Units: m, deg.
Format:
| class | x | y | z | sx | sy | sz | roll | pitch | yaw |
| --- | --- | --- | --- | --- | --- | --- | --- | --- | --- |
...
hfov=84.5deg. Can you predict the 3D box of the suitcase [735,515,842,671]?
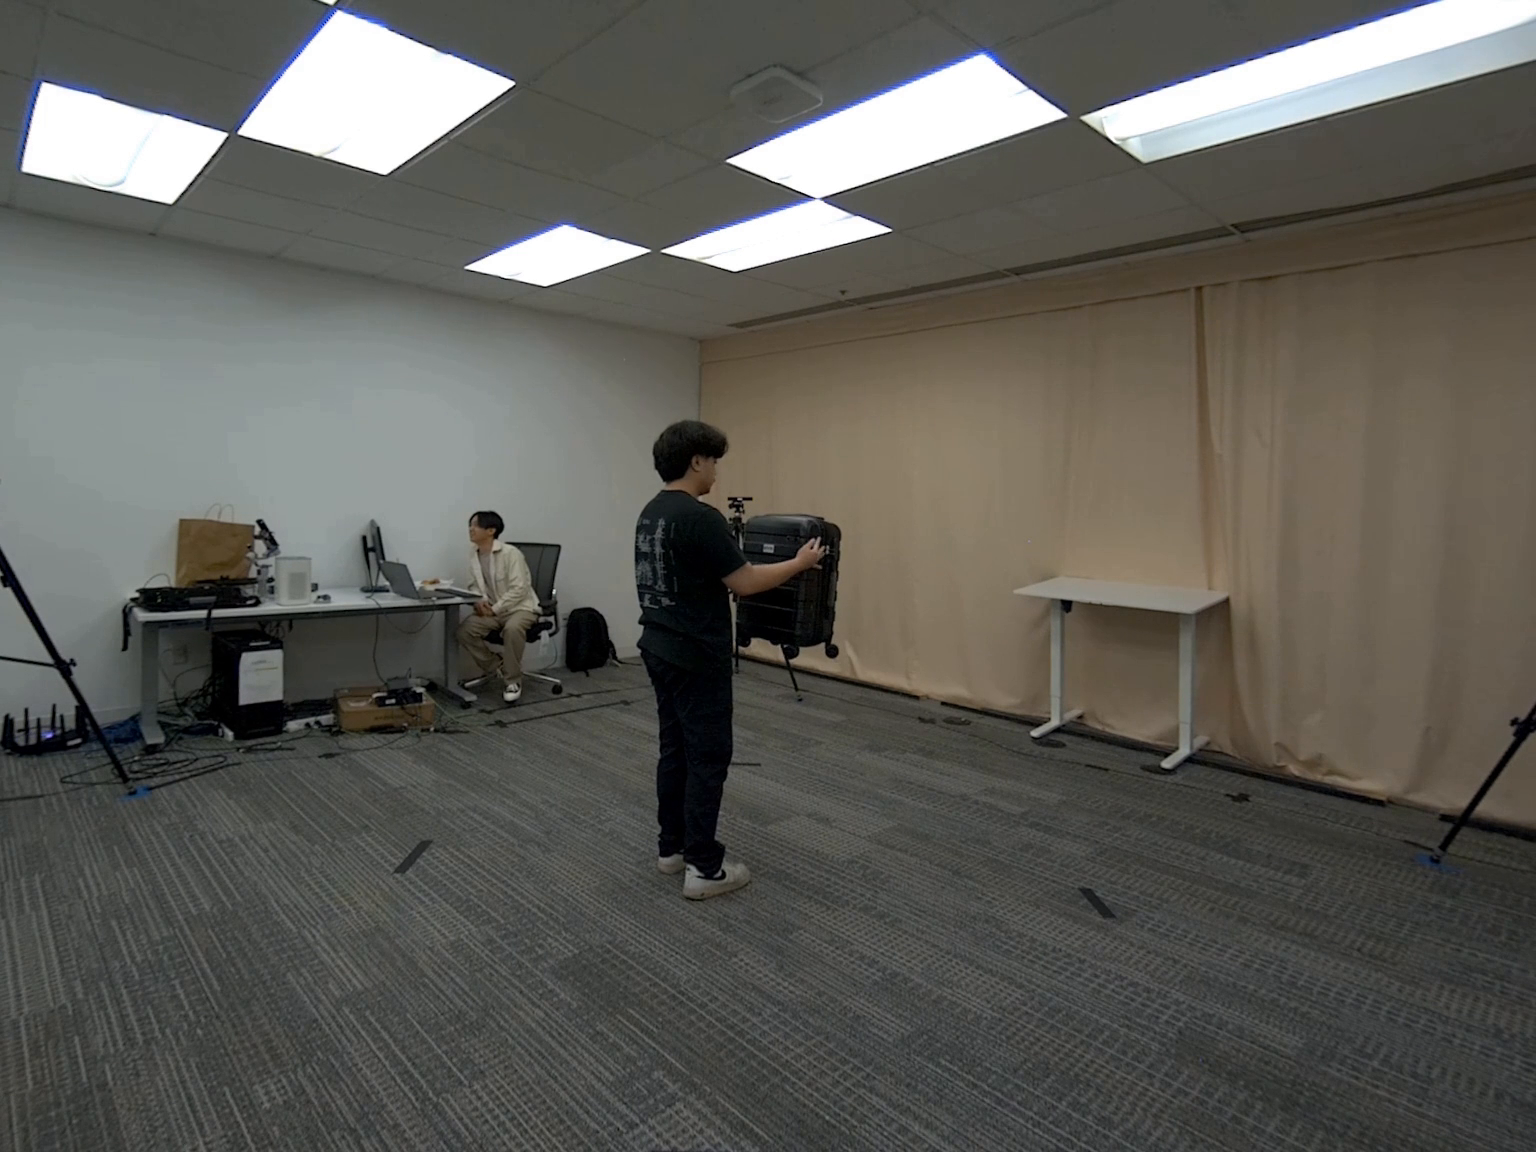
| class | x | y | z | sx | sy | sz | roll | pitch | yaw |
| --- | --- | --- | --- | --- | --- | --- | --- | --- | --- |
| suitcase | 0.079 | 0.027 | 3.359 | 0.385 | 0.548 | 0.242 | 8 | 3 | 41 |
